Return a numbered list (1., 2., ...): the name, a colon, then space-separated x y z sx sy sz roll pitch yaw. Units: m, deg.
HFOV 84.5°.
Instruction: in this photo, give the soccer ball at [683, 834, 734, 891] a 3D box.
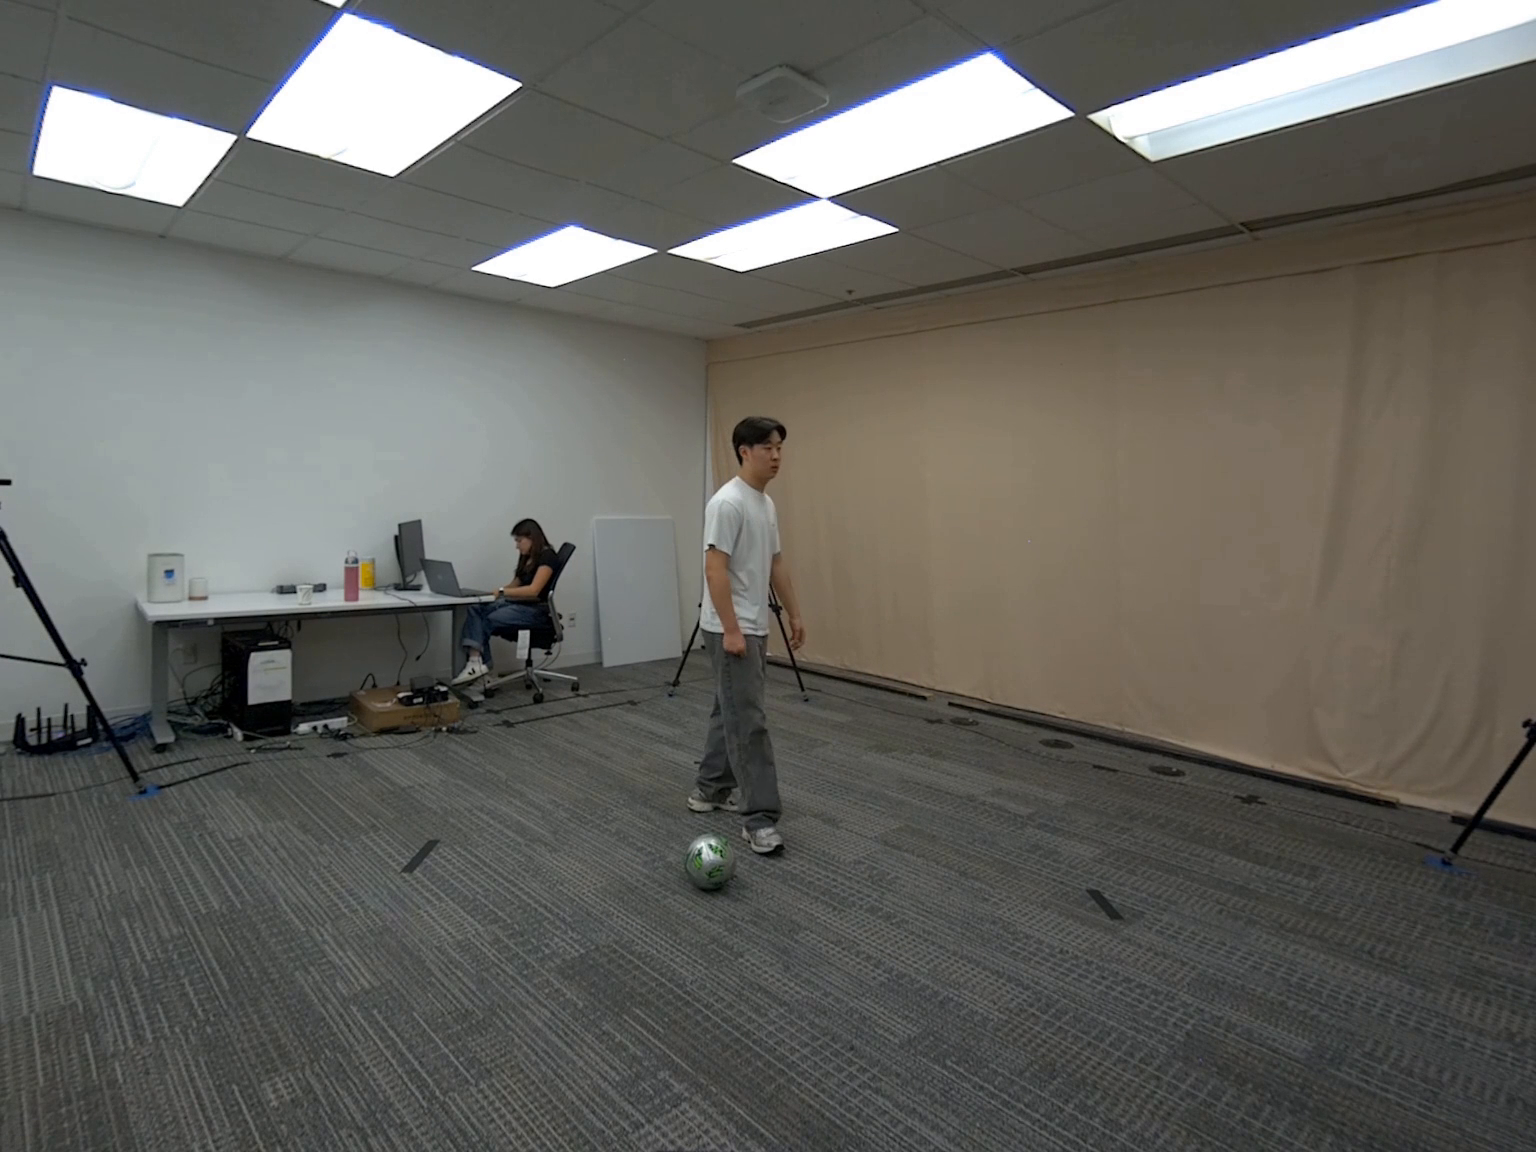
1. soccer ball: -0.220 1.025 3.007 0.187 0.187 0.188 1 4 -1
